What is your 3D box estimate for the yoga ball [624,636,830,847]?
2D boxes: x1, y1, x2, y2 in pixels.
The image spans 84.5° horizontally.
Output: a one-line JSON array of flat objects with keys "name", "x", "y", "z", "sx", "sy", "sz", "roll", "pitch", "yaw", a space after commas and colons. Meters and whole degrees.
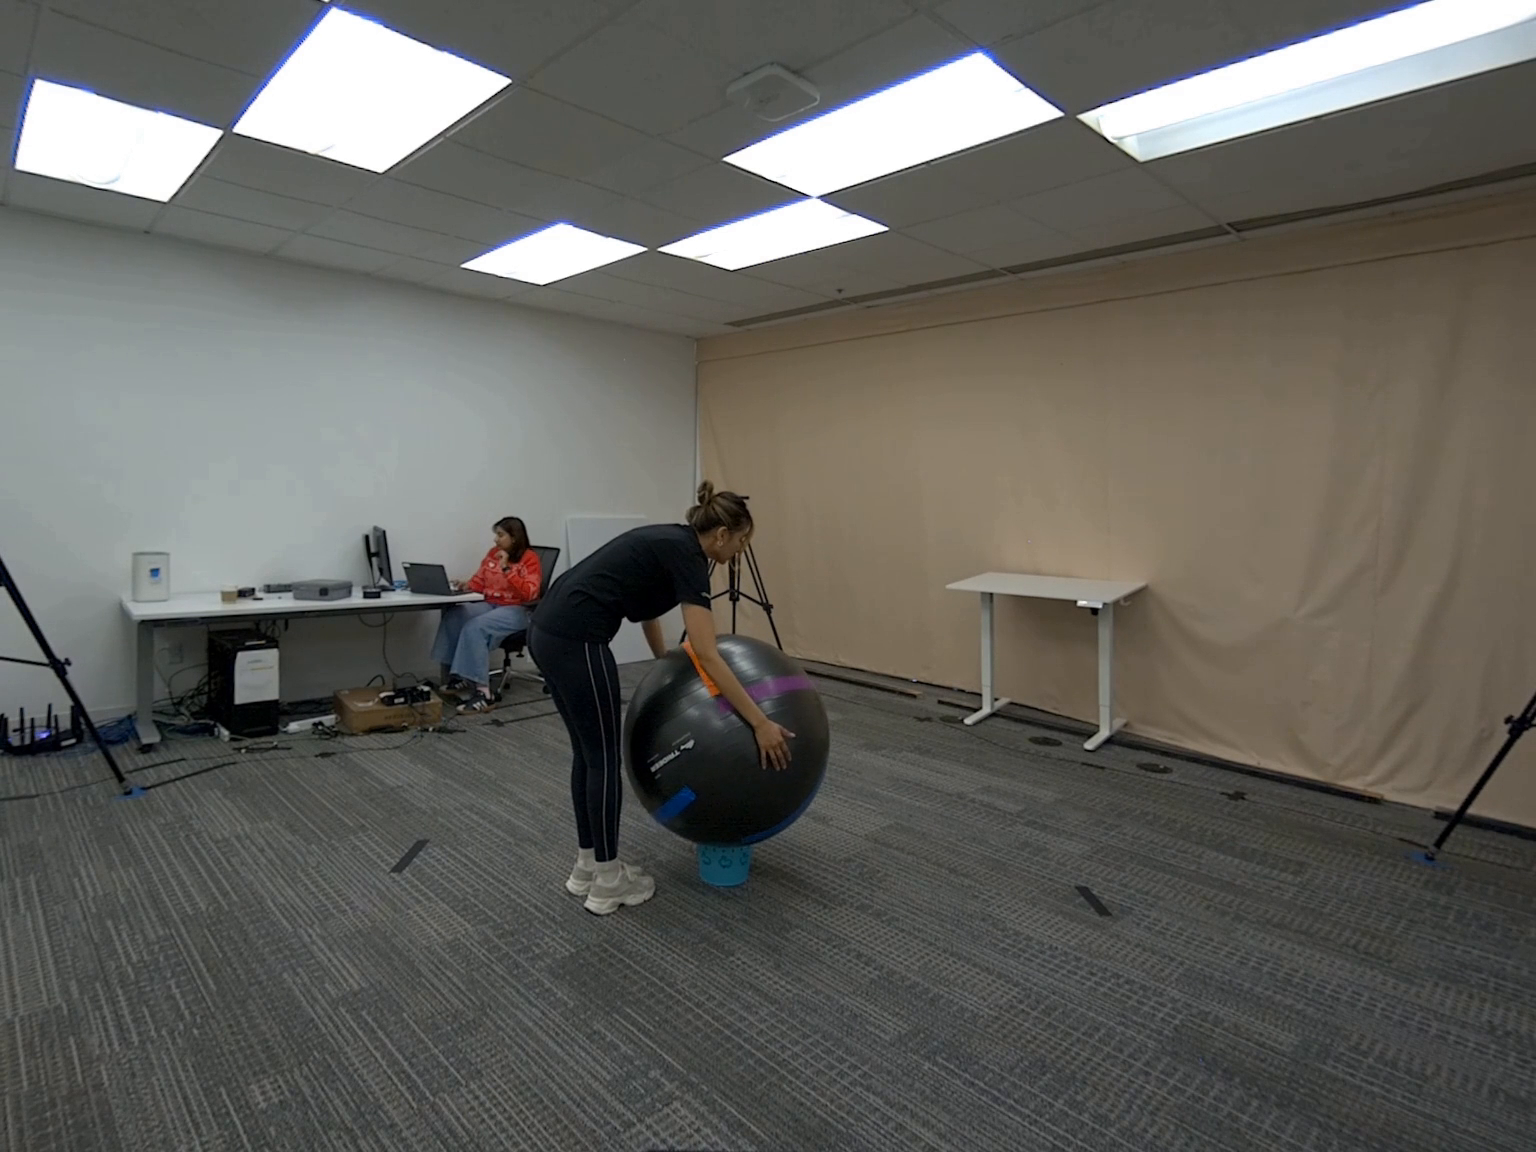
[{"name": "yoga ball", "x": -0.155, "y": 0.593, "z": 3.079, "sx": 0.757, "sy": 0.756, "sz": 0.761, "roll": 1, "pitch": 4, "yaw": -1}]
